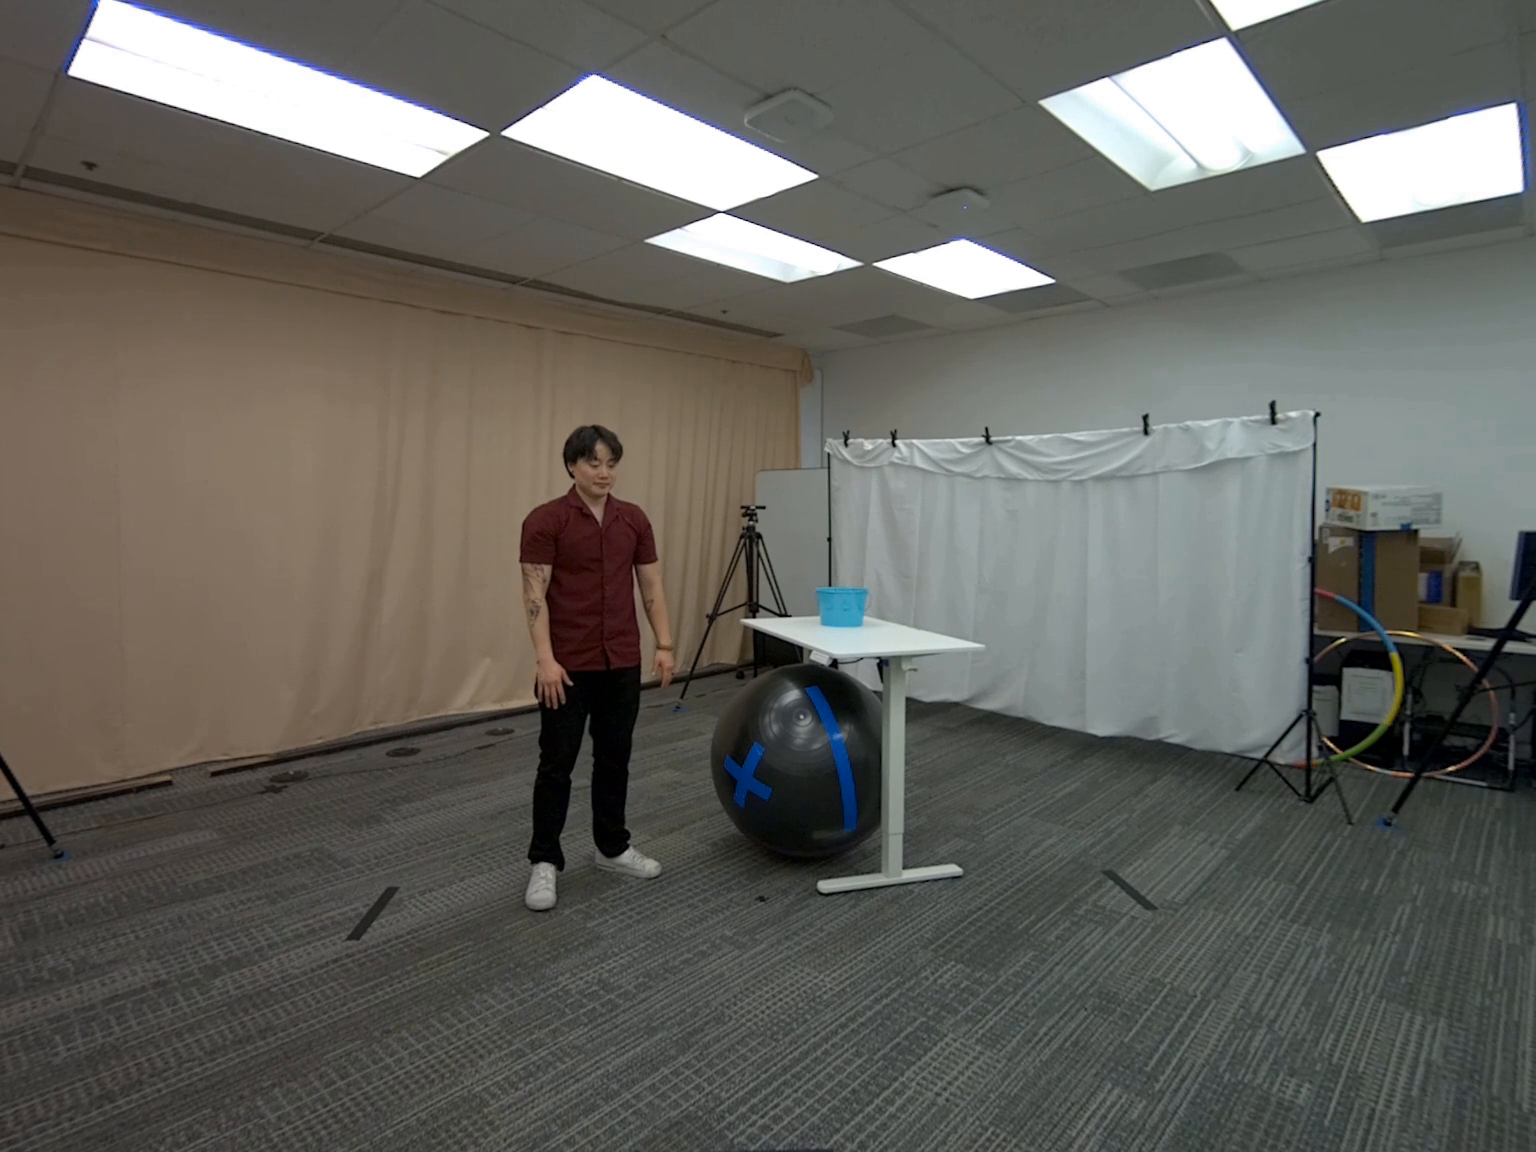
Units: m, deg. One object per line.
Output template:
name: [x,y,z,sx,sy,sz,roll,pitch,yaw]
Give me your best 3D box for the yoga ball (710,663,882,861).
yoga ball: [0.153,0.737,3.380,0.757,0.756,0.760,0,4,-2]
